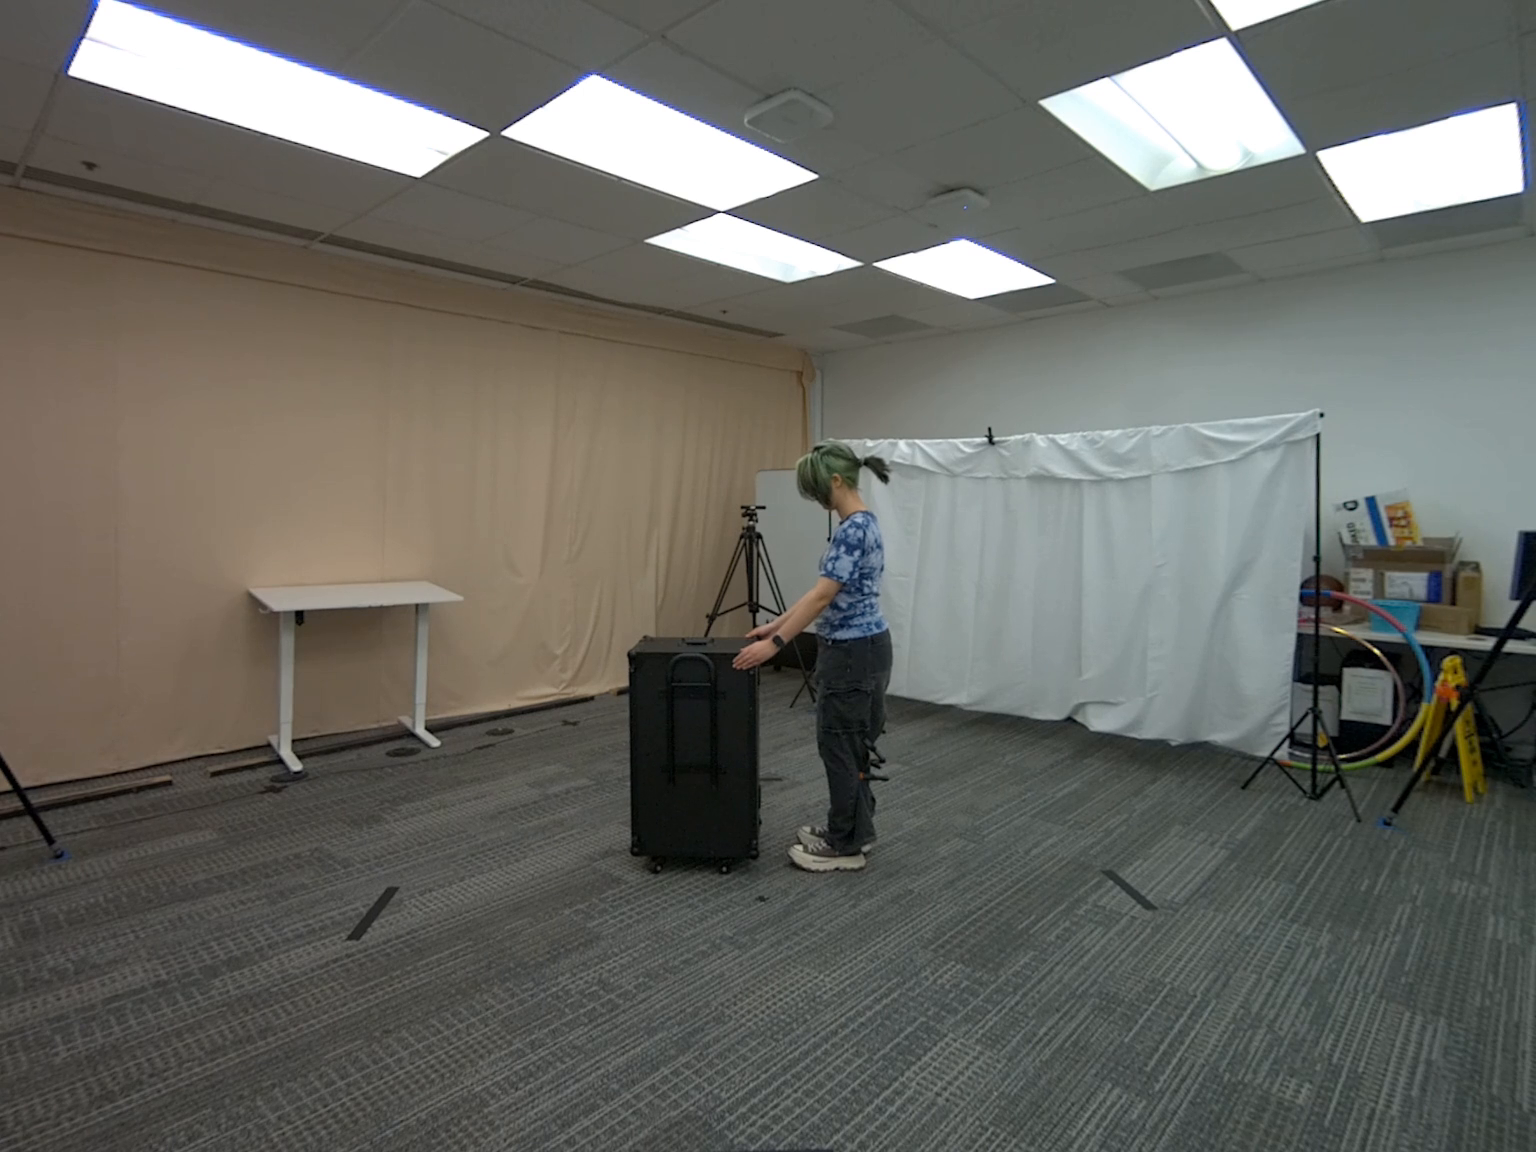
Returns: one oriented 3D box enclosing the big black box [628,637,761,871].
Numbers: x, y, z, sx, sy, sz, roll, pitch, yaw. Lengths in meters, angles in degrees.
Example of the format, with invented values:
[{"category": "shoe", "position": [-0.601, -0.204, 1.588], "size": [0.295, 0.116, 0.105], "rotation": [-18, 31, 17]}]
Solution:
[{"category": "big black box", "position": [-0.275, 0.700, 3.315], "size": [0.524, 0.860, 0.395], "rotation": [0, 3, 3]}]
